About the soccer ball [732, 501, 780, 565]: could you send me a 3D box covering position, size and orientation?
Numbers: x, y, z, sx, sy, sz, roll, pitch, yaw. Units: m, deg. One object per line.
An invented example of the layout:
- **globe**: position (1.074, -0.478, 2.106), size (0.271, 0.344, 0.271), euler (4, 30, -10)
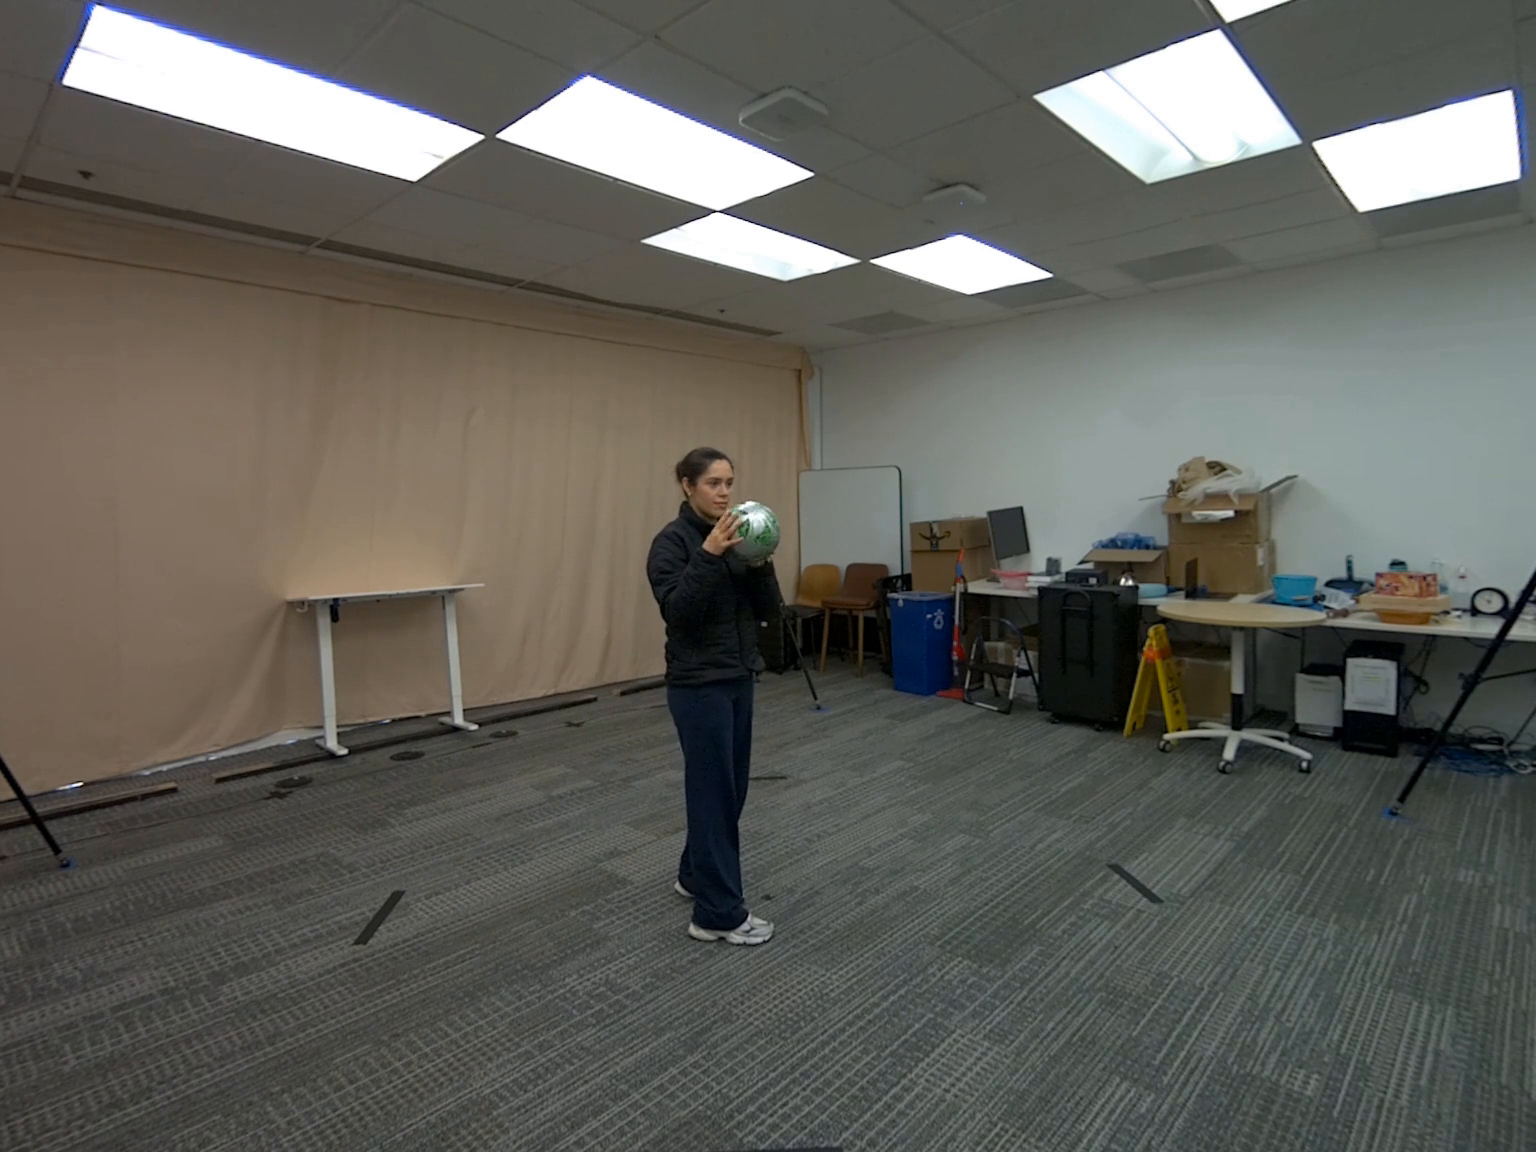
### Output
- **soccer ball**: position (-0.062, -0.134, 2.579), size (0.187, 0.187, 0.188), euler (-1, 4, -2)
